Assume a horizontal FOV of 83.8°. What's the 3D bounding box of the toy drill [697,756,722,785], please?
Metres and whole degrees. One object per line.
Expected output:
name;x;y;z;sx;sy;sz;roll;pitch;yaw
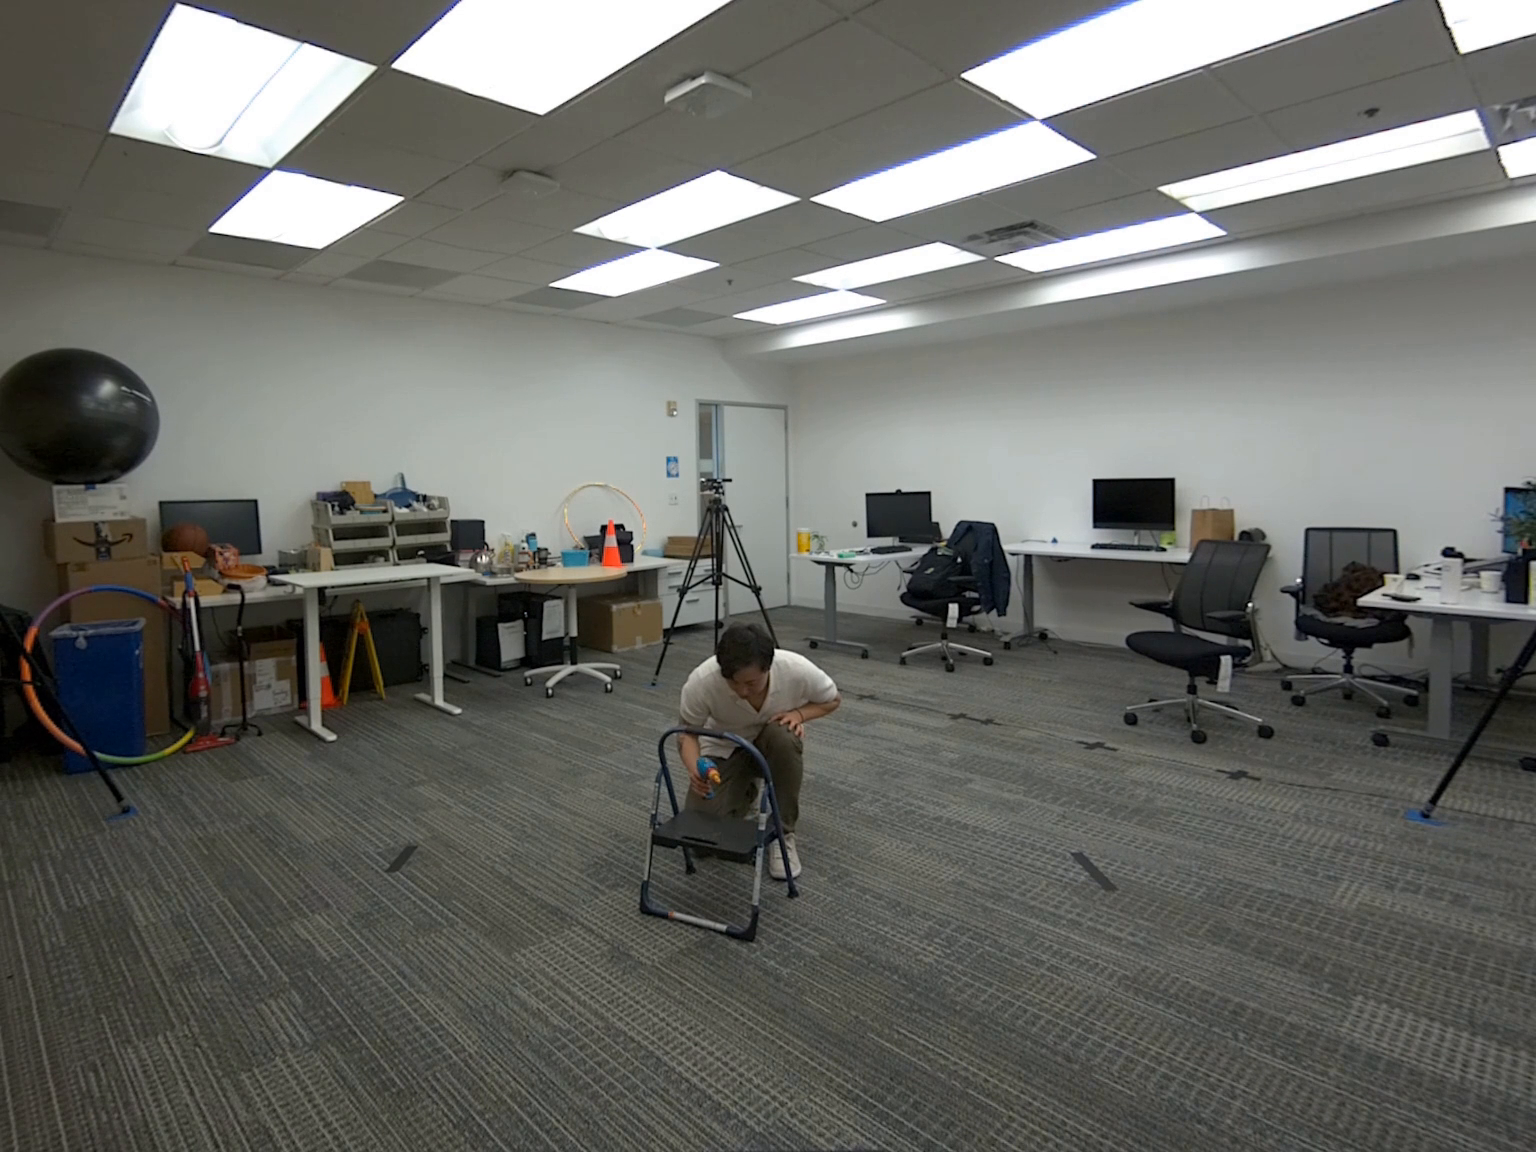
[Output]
toy drill;-0.205;0.723;2.989;0.060;0.144;0.174;-8;16;-17
